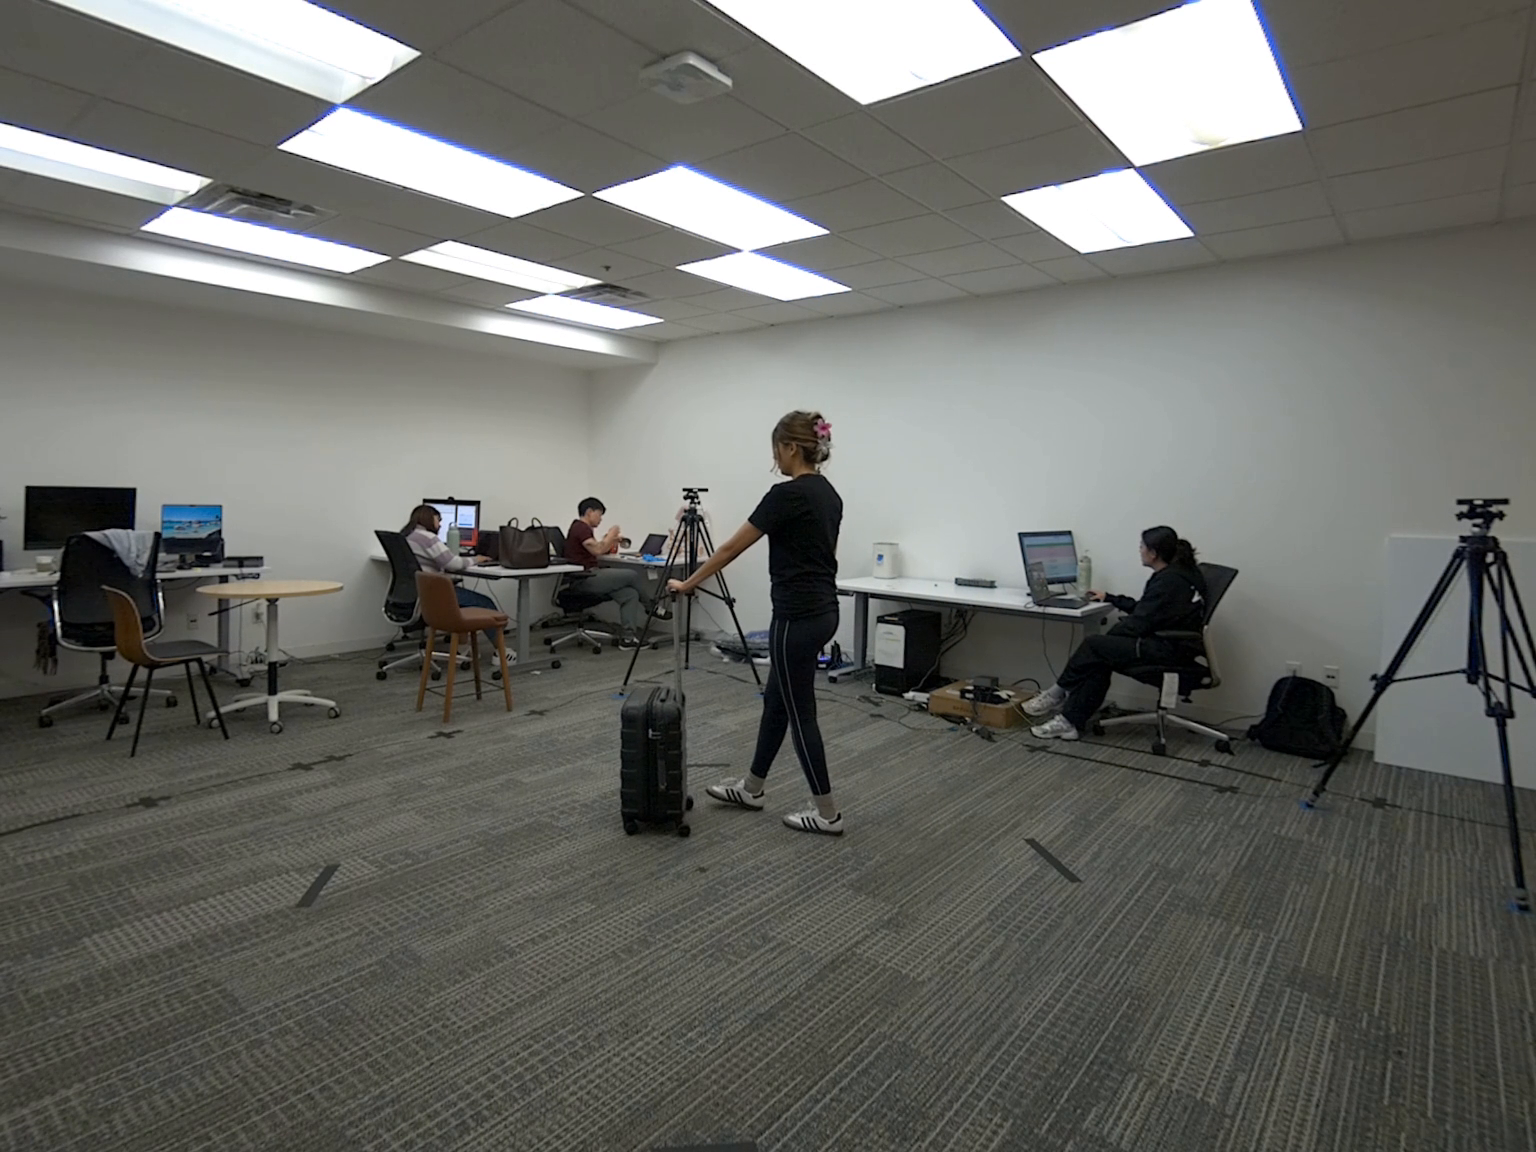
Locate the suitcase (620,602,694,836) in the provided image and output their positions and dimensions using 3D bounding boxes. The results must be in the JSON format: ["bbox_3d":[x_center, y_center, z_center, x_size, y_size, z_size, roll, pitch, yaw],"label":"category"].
[{"bbox_3d":[-0.489,0.552,3.534,0.257,0.975,0.386,-4,3,-2],"label":"suitcase"}]
